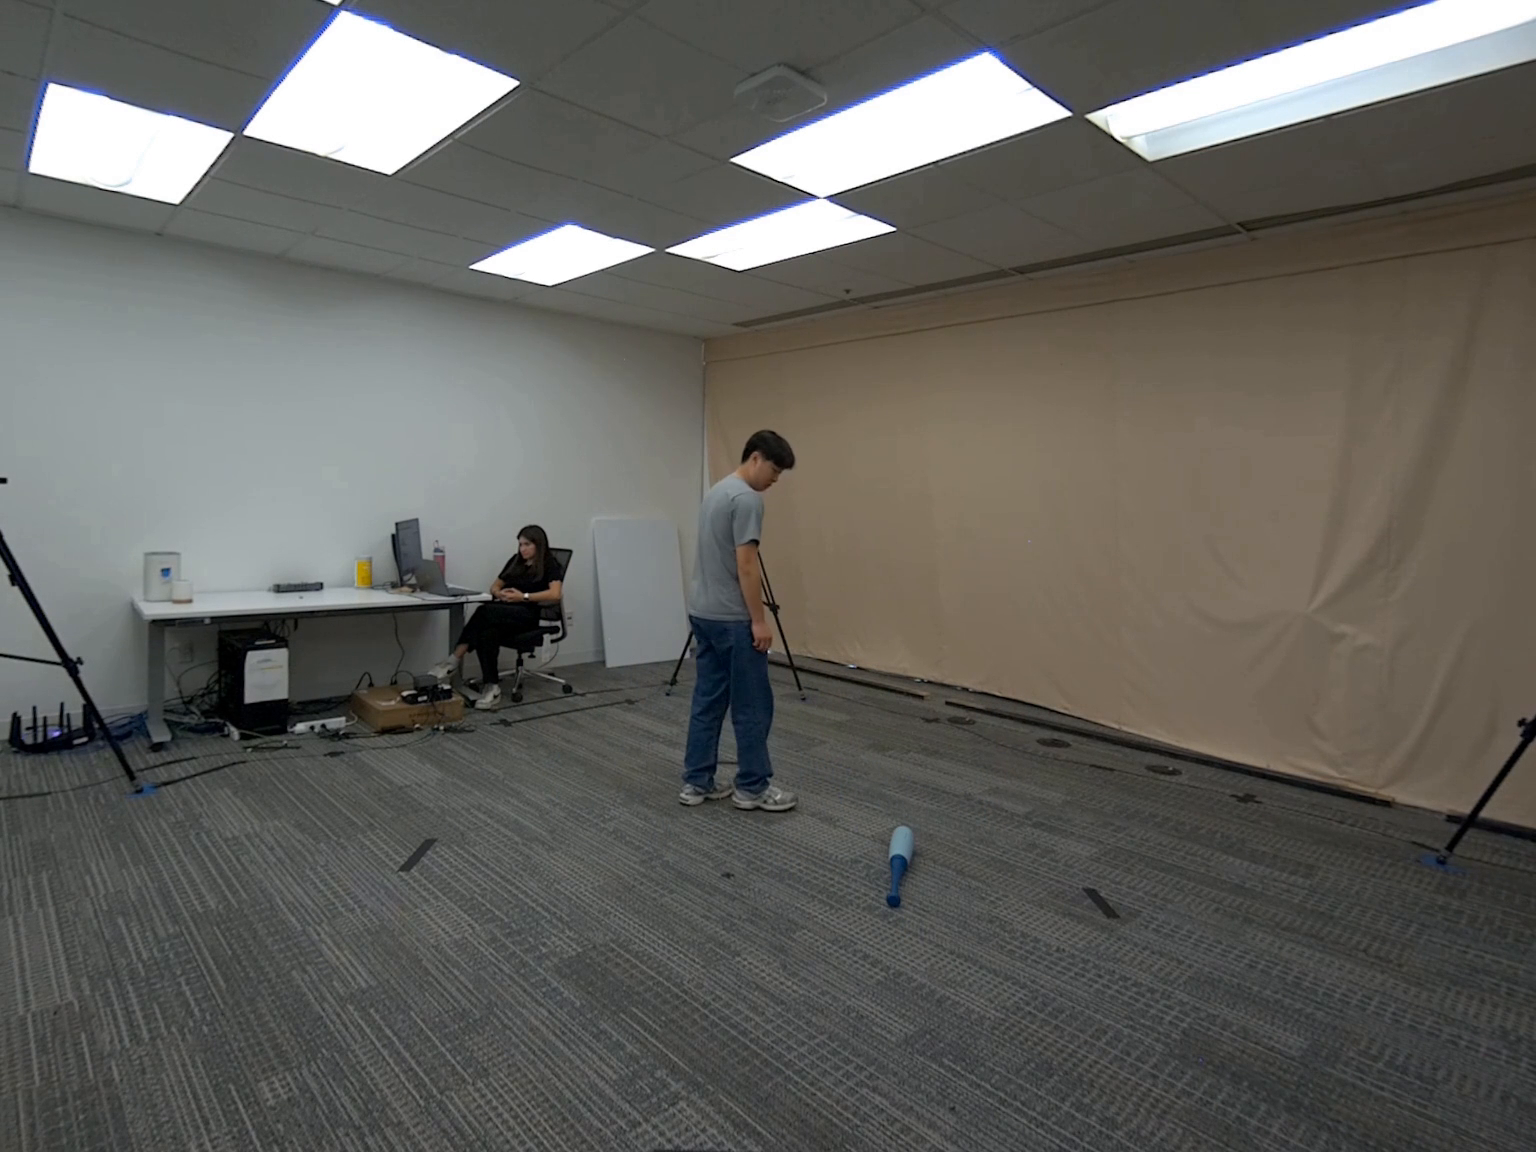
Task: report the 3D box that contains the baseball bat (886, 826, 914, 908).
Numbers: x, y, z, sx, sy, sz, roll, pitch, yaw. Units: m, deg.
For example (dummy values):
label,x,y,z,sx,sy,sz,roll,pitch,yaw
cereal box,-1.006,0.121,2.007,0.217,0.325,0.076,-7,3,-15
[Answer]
label,x,y,z,sx,sy,sz,roll,pitch,yaw
baseball bat,0.481,1.080,3.140,0.090,0.088,0.539,2,7,12
